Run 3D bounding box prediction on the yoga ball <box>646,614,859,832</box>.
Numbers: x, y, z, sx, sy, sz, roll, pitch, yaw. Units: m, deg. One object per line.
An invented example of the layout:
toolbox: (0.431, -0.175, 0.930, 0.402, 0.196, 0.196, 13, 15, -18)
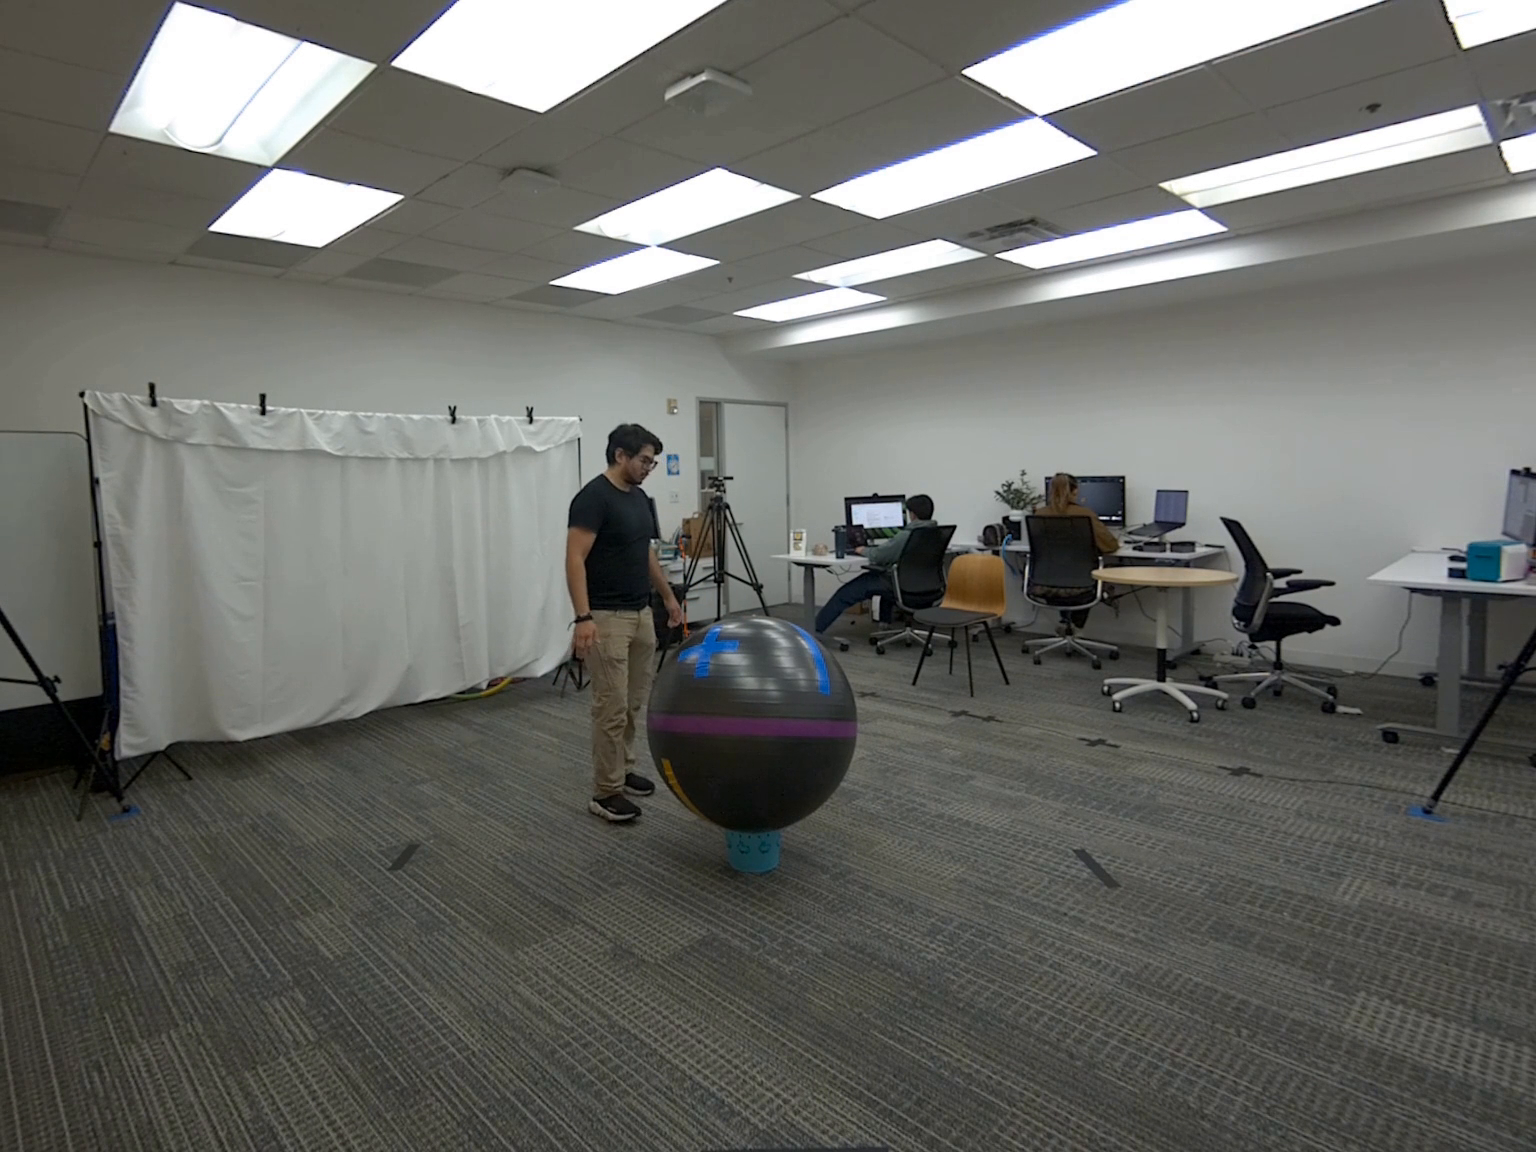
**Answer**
yoga ball: (-0.060, 0.527, 3.094, 0.757, 0.755, 0.762, -1, 5, -2)
